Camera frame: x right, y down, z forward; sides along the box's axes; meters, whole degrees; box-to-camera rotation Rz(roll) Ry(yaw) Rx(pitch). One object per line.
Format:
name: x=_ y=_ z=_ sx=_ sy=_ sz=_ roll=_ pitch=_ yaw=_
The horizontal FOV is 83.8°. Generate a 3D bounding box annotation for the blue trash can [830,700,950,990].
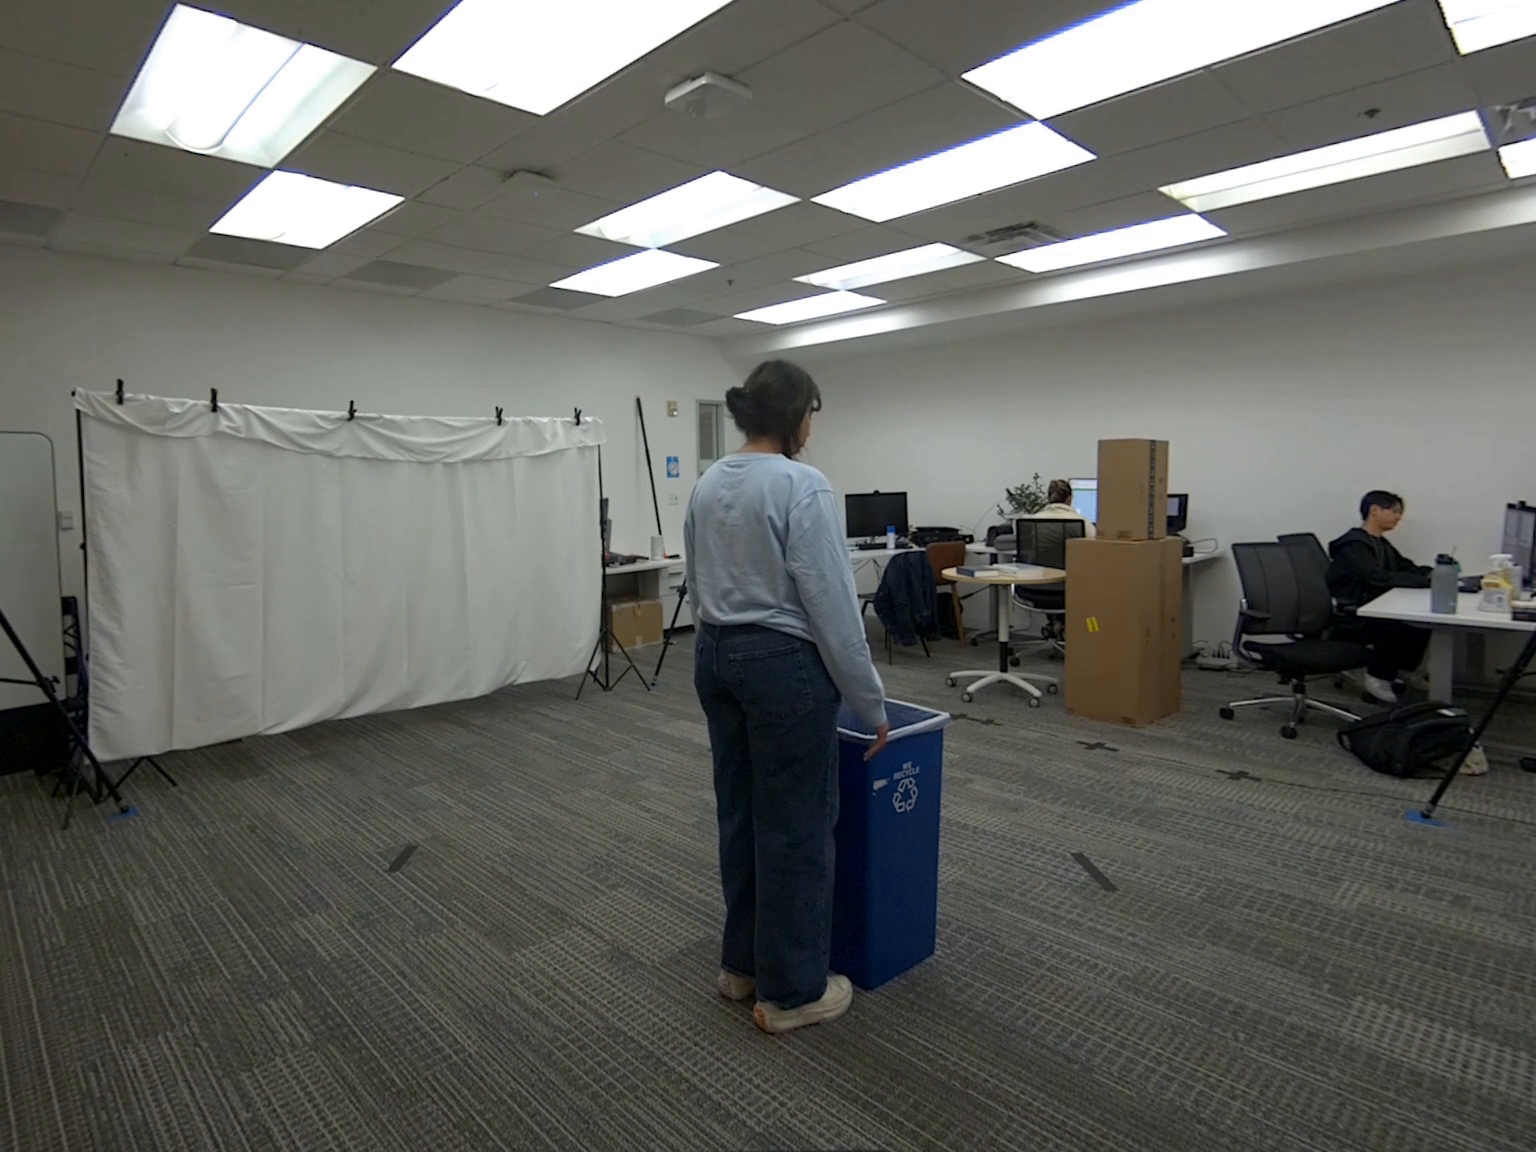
blue trash can: x=0.290 y=0.751 z=2.512 sx=0.364 sy=0.711 sz=0.390 roll=-4 pitch=6 yaw=-41
